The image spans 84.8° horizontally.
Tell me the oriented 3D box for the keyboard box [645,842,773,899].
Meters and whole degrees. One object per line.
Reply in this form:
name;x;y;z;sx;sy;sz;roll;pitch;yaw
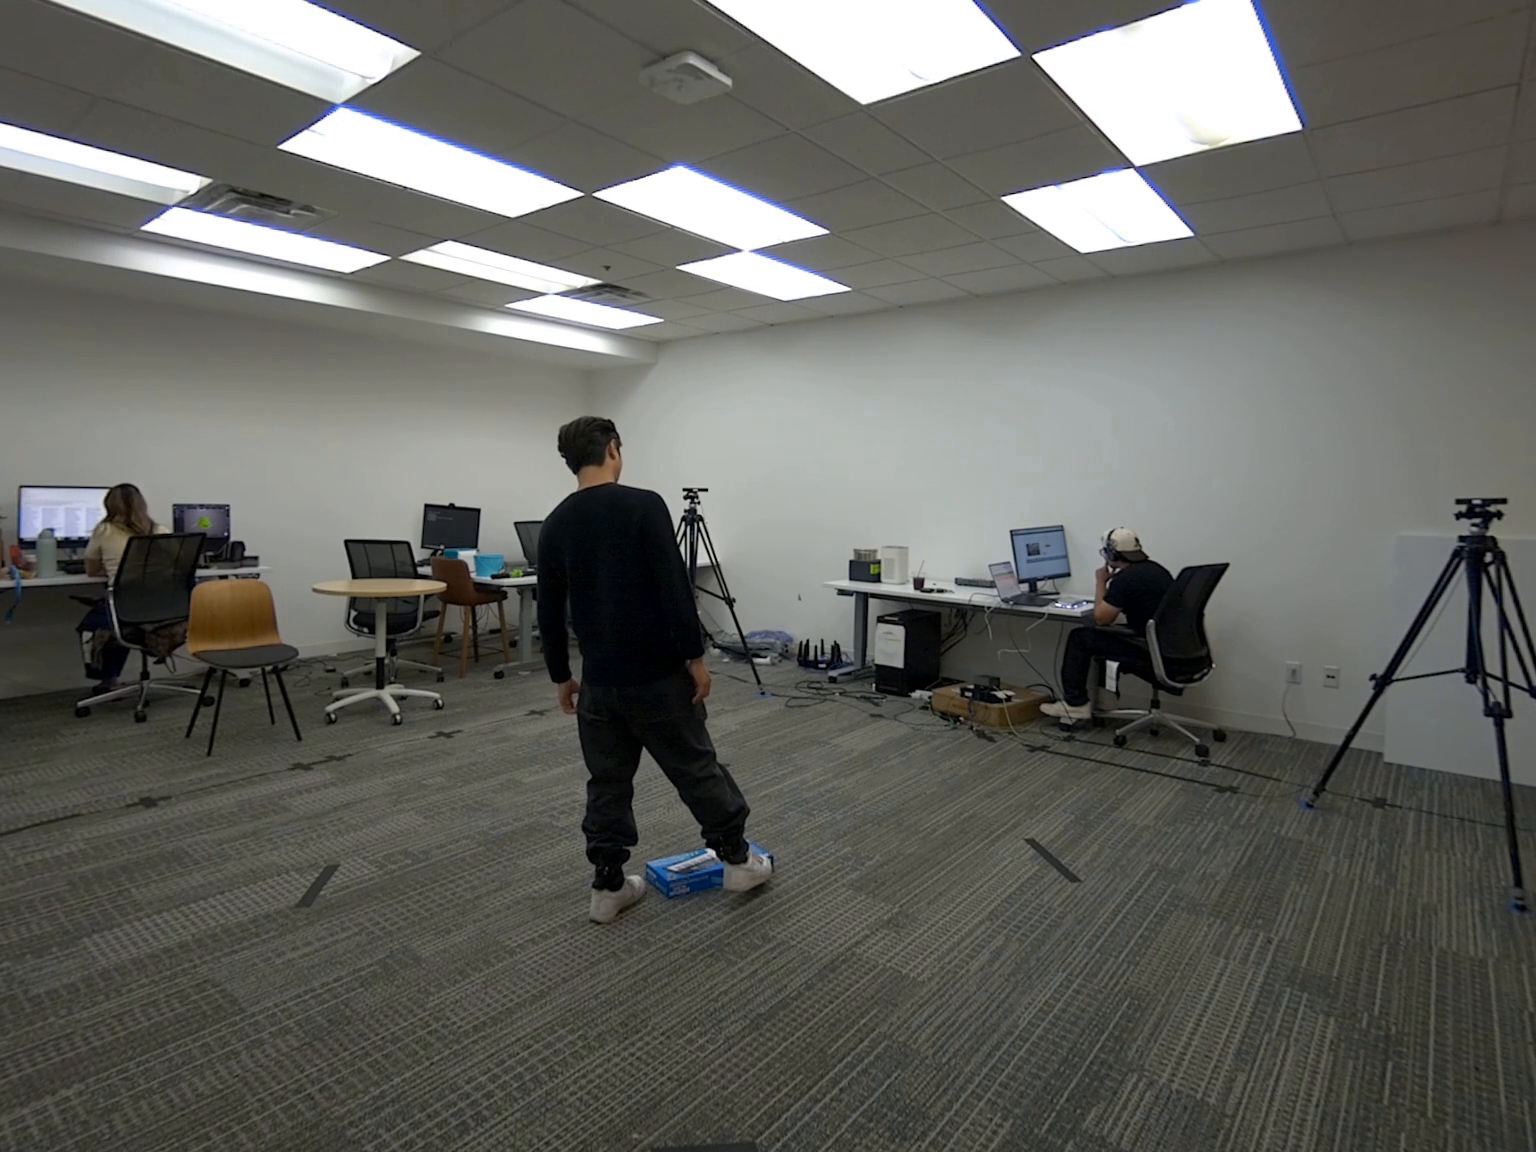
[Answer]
keyboard box;-0.220;1.043;3.062;0.424;0.059;0.182;-2;6;-33
